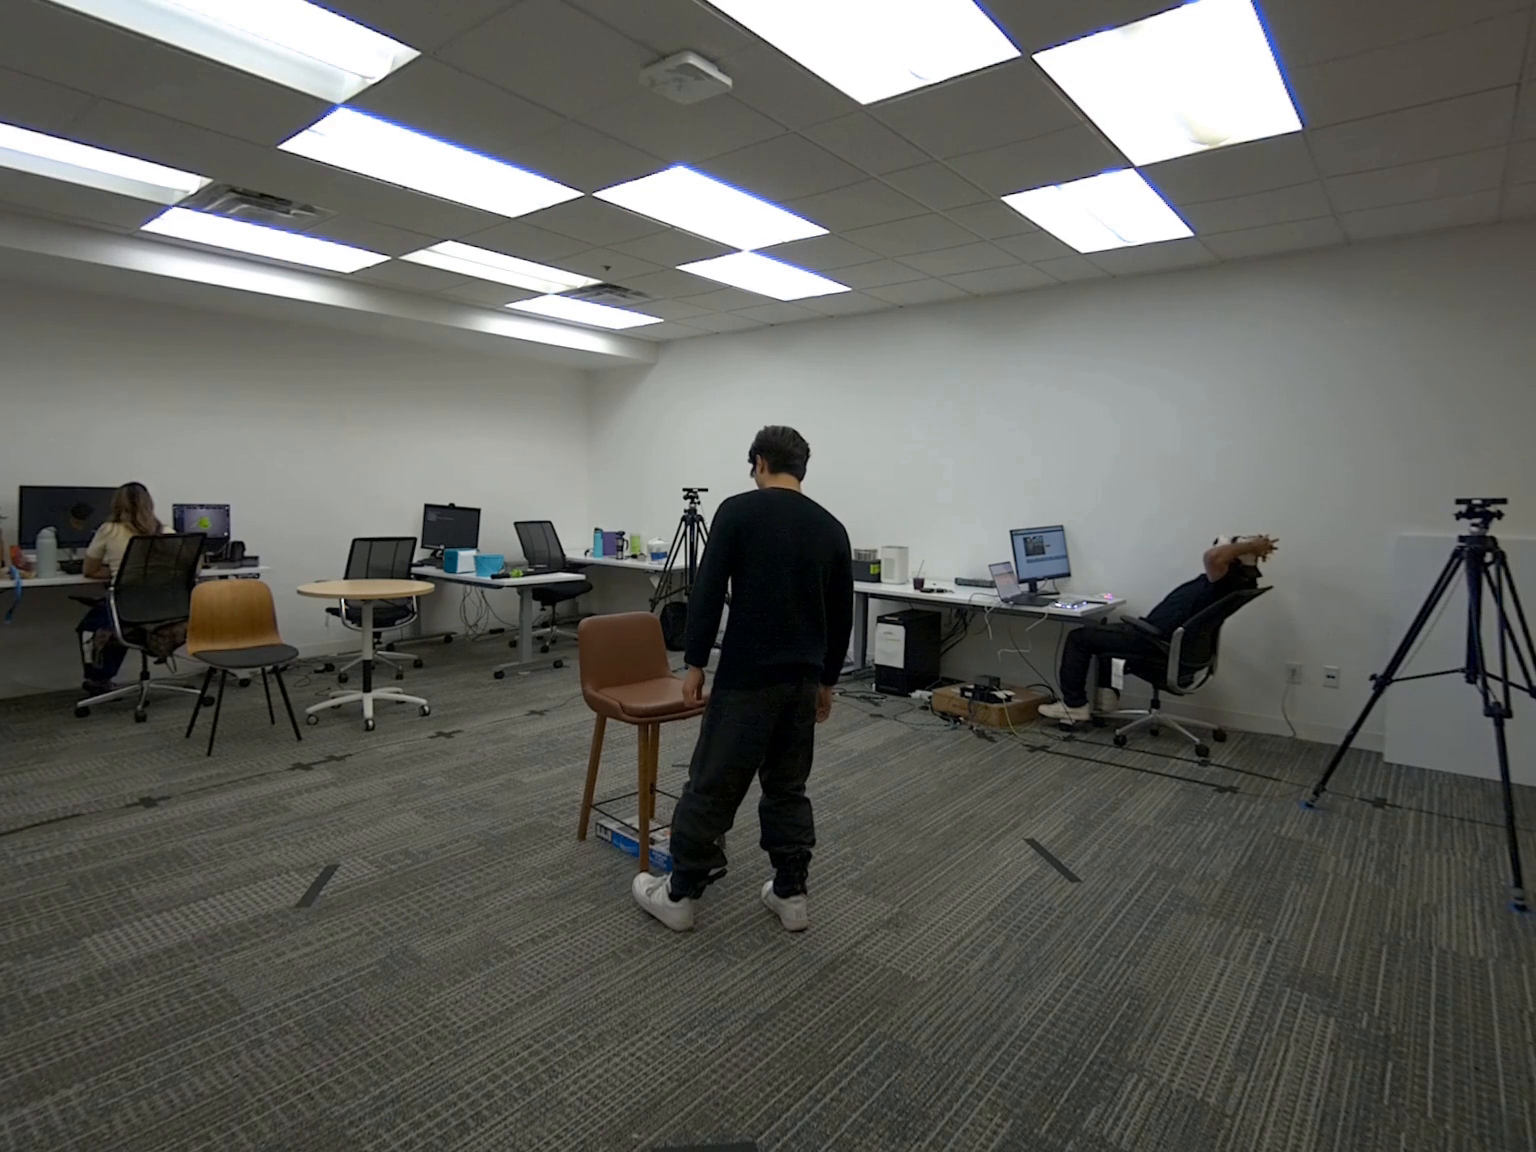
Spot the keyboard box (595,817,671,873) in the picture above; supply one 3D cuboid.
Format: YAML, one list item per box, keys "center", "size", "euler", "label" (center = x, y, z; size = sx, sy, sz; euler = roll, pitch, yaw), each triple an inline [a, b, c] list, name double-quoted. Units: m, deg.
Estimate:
- center: [-0.480, 1.025, 3.300]
  size: [0.452, 0.059, 0.170]
  euler: [7, 5, 43]
  label: "keyboard box"
